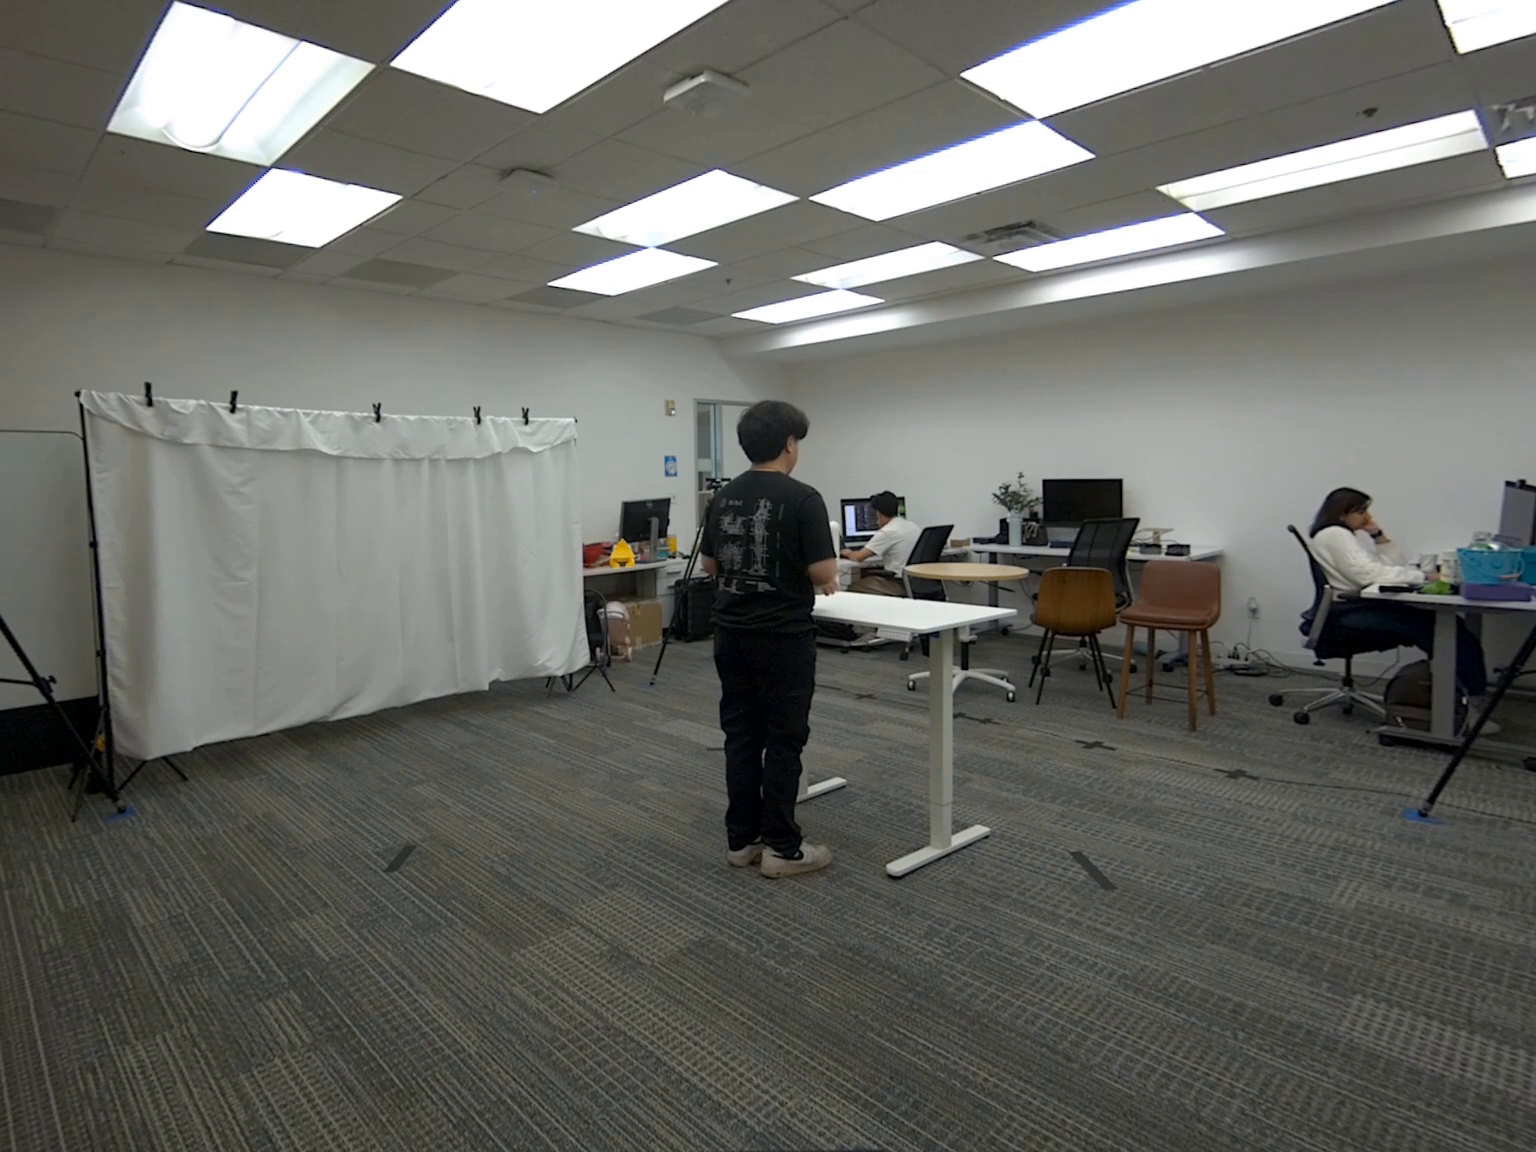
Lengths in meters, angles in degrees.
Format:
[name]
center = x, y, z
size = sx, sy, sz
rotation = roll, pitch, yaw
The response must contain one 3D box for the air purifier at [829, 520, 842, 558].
[air purifier]
center = 0.184, -0.079, 3.256
size = 0.177, 0.263, 0.167
rotation = 7, 10, 40
